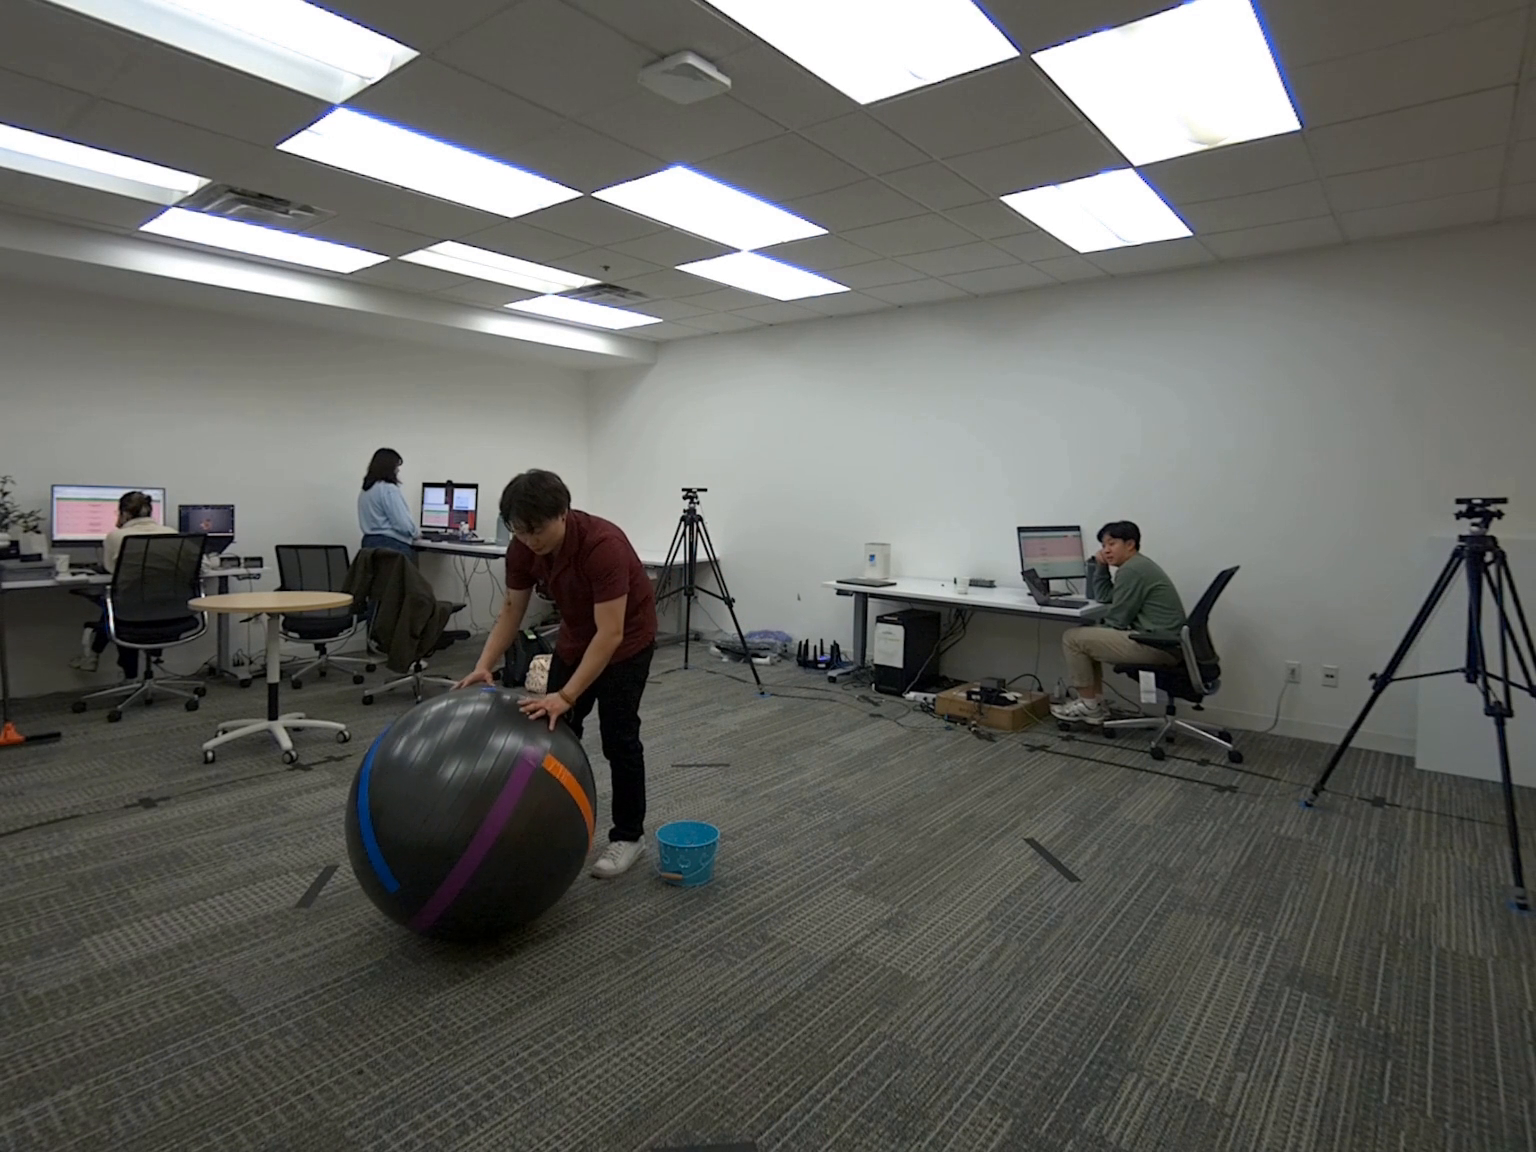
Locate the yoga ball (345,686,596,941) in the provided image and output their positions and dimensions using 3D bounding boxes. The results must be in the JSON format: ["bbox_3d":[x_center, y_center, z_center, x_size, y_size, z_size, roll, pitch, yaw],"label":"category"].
[{"bbox_3d":[-0.933,0.741,2.673,0.757,0.755,0.762,1,4,-2],"label":"yoga ball"}]
